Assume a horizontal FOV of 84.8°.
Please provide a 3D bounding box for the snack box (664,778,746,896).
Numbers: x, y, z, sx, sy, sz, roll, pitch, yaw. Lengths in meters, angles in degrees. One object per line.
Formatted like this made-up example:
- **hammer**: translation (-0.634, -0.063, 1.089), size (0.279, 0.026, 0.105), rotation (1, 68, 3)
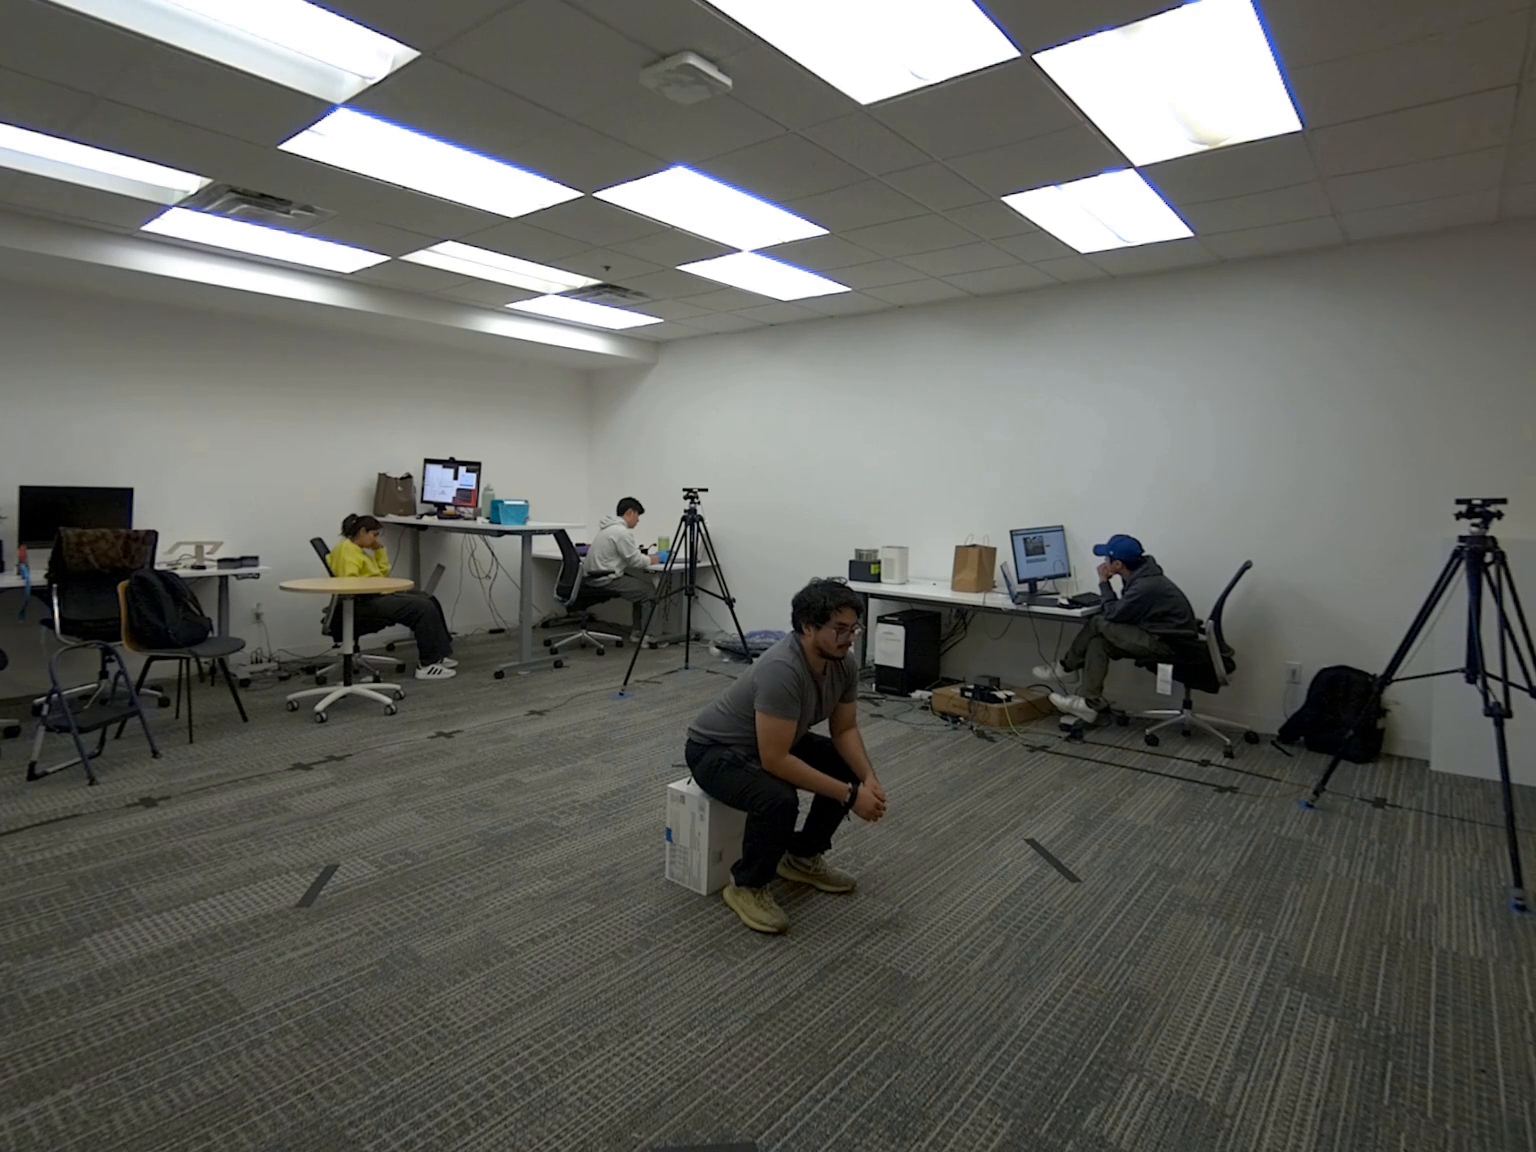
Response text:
- **snack box**: translation (-0.172, 0.903, 3.107), size (0.212, 0.339, 0.393), rotation (5, 6, 38)
